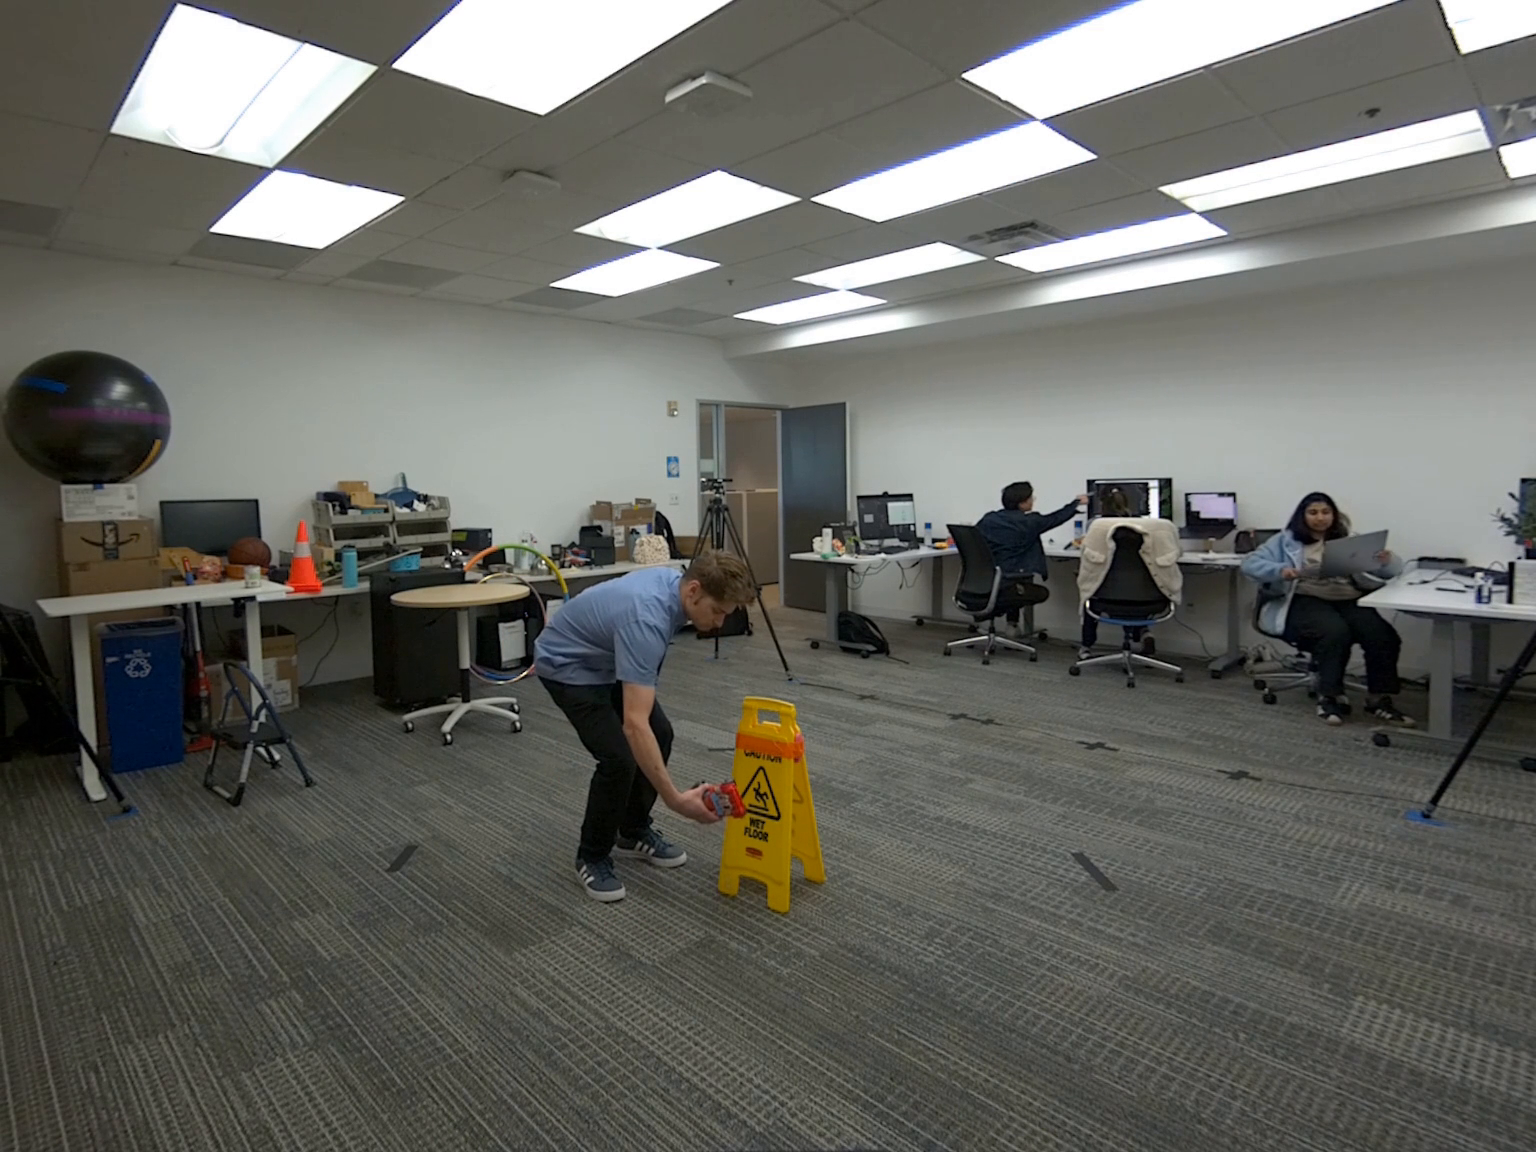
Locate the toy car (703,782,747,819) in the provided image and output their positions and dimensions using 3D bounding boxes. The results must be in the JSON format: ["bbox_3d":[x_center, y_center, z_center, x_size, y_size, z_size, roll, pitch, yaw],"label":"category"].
[{"bbox_3d":[-0.169,0.711,2.682,0.258,0.130,0.082,-21,1,35],"label":"toy car"}]
